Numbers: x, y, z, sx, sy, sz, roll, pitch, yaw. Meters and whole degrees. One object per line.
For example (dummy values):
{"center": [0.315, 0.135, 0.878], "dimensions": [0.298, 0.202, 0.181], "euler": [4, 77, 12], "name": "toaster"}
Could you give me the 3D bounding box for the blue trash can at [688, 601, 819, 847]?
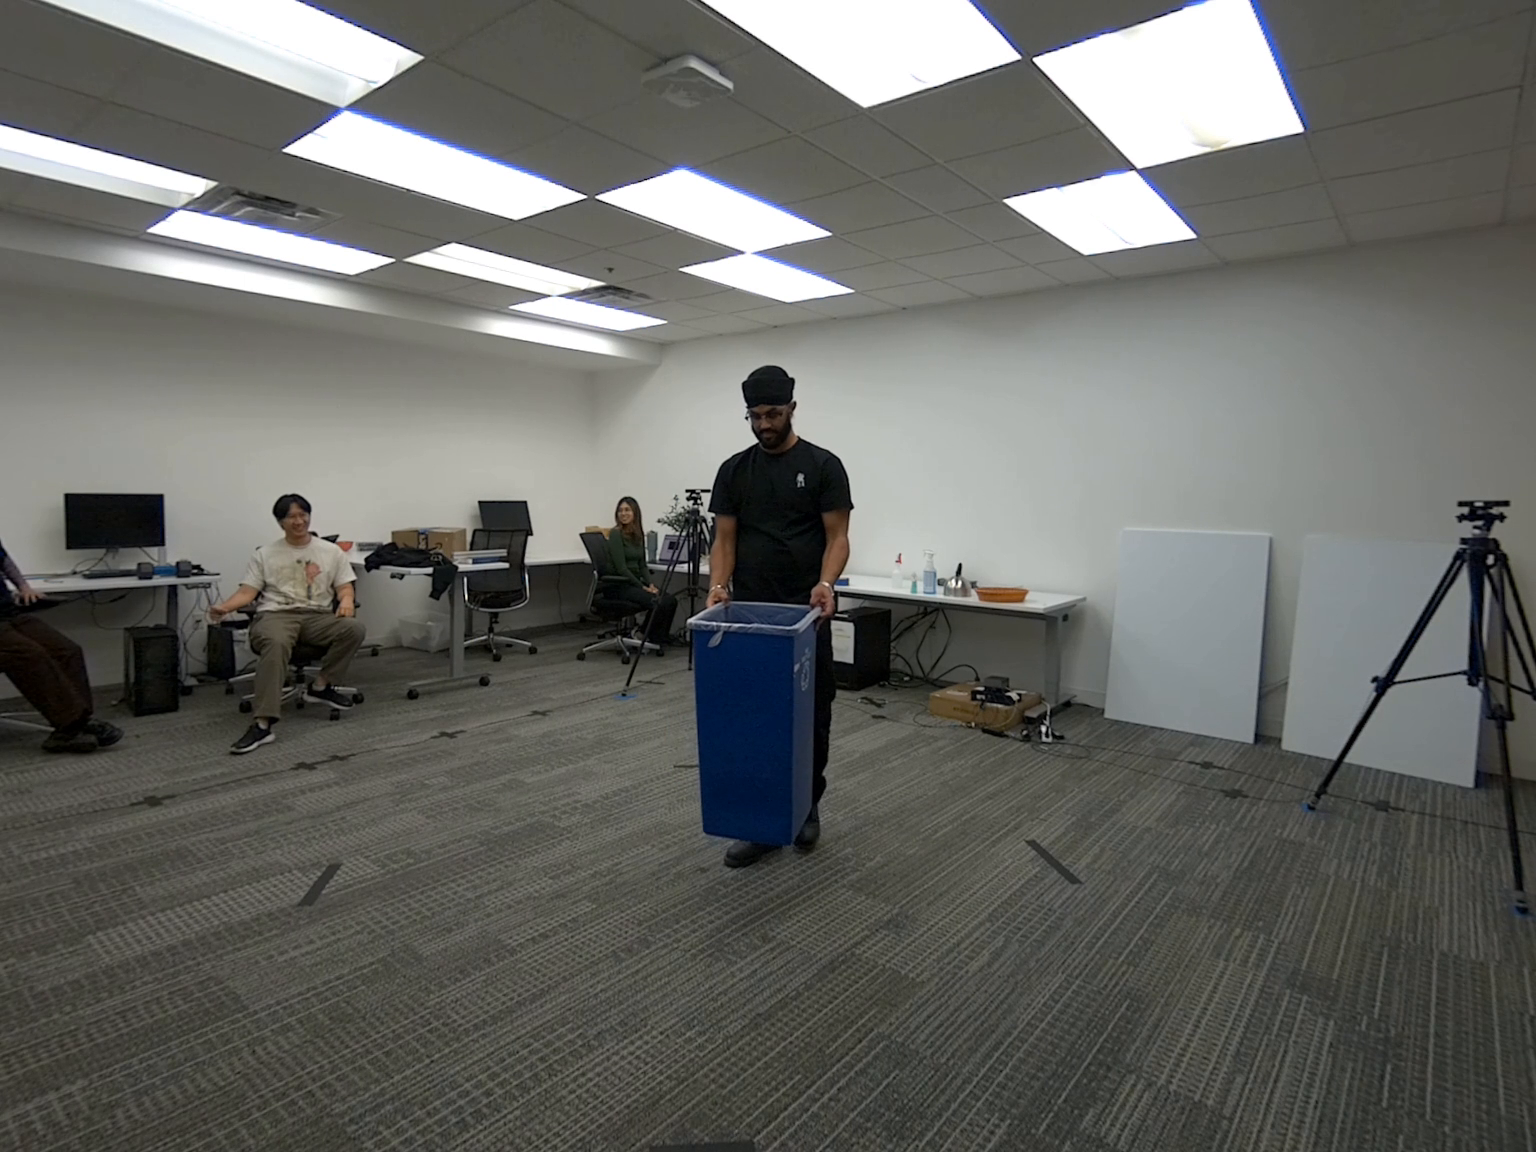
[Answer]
{"center": [-0.047, 0.472, 2.842], "dimensions": [0.386, 0.709, 0.369], "euler": [1, 7, 18], "name": "blue trash can"}
